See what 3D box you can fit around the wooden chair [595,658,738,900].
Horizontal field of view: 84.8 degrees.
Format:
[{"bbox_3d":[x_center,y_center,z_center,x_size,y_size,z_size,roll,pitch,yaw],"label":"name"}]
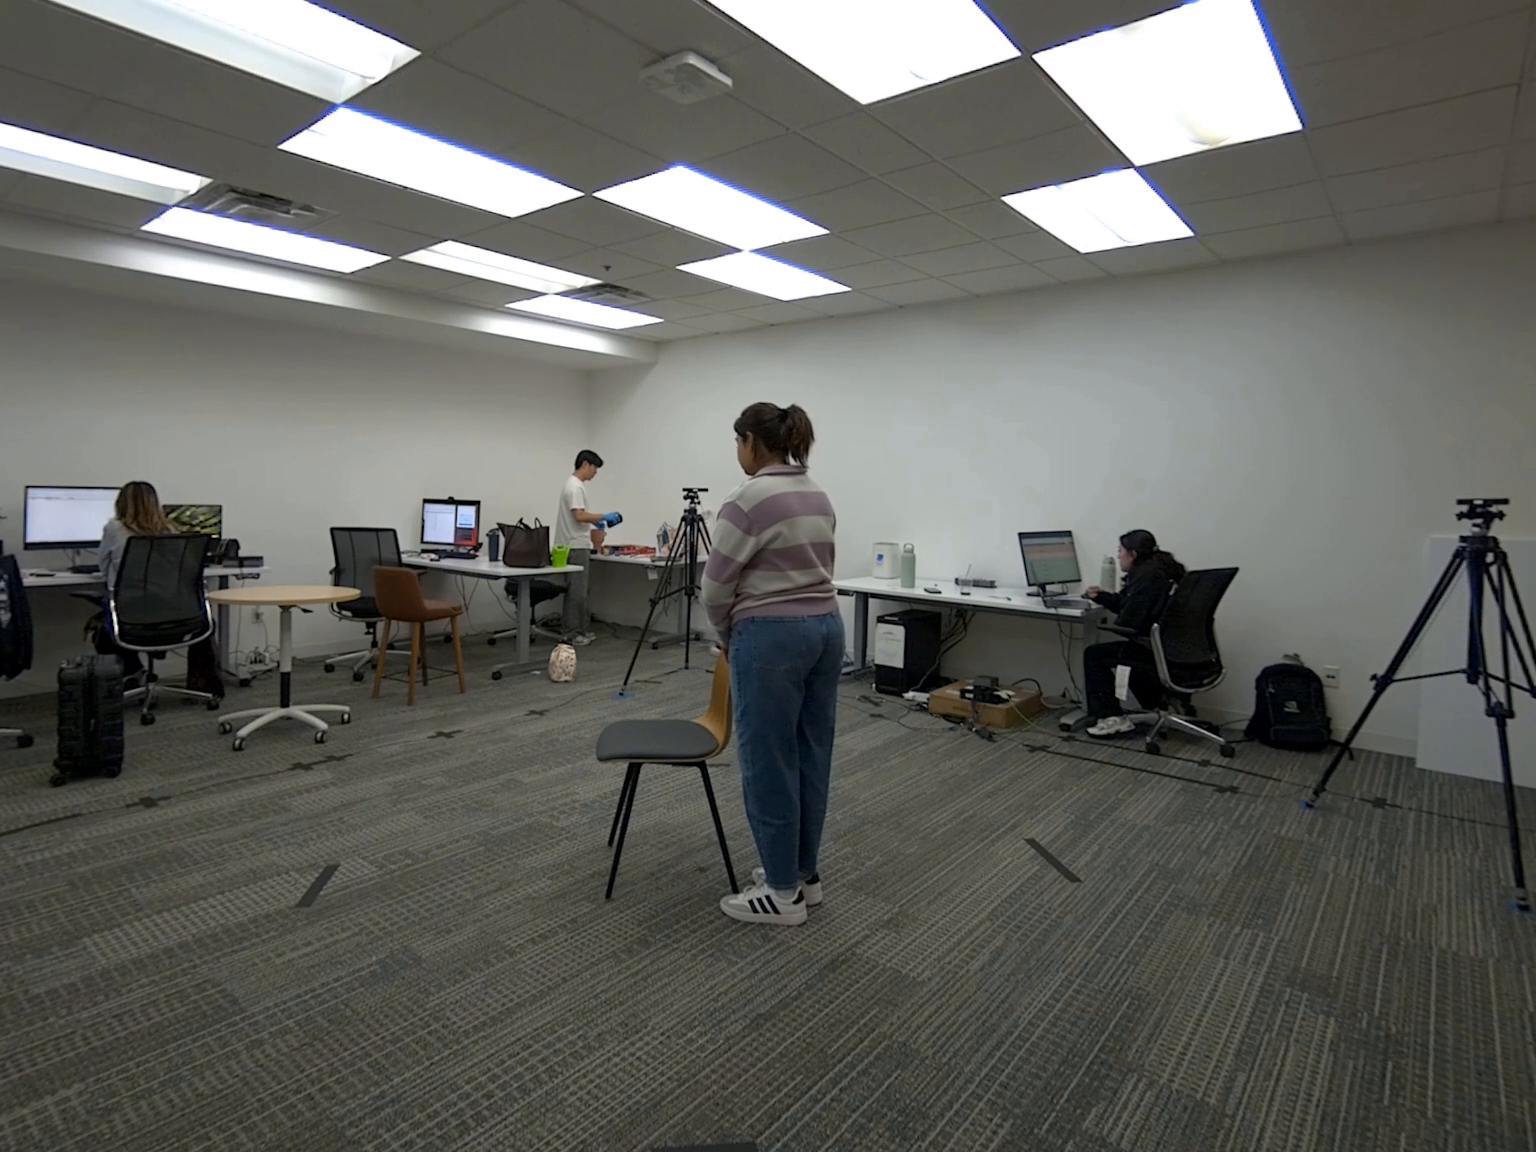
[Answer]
[{"bbox_3d":[-0.376,0.640,3.081,0.518,0.875,0.484,4,3,-10],"label":"wooden chair"}]
